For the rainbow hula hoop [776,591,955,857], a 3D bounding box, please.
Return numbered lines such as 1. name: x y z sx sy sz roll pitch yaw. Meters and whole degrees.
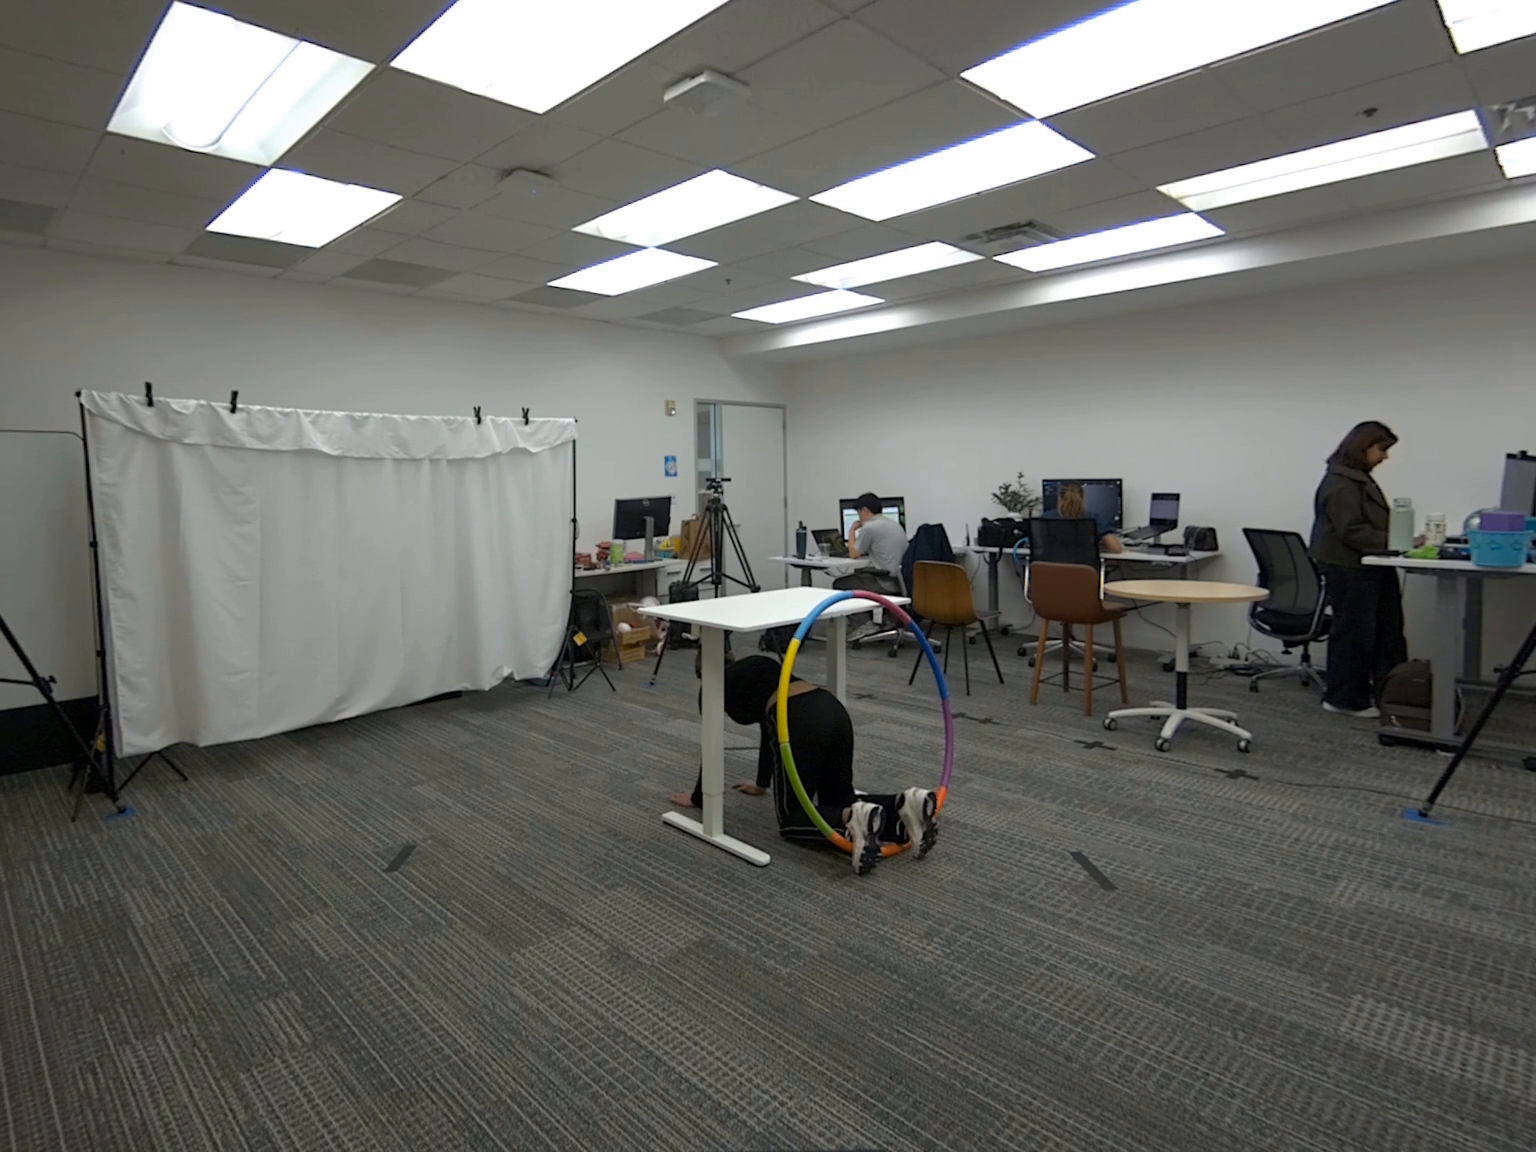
1. rainbow hula hoop: 0.401 0.549 3.244 0.953 0.987 0.036 -6 -10 -43
